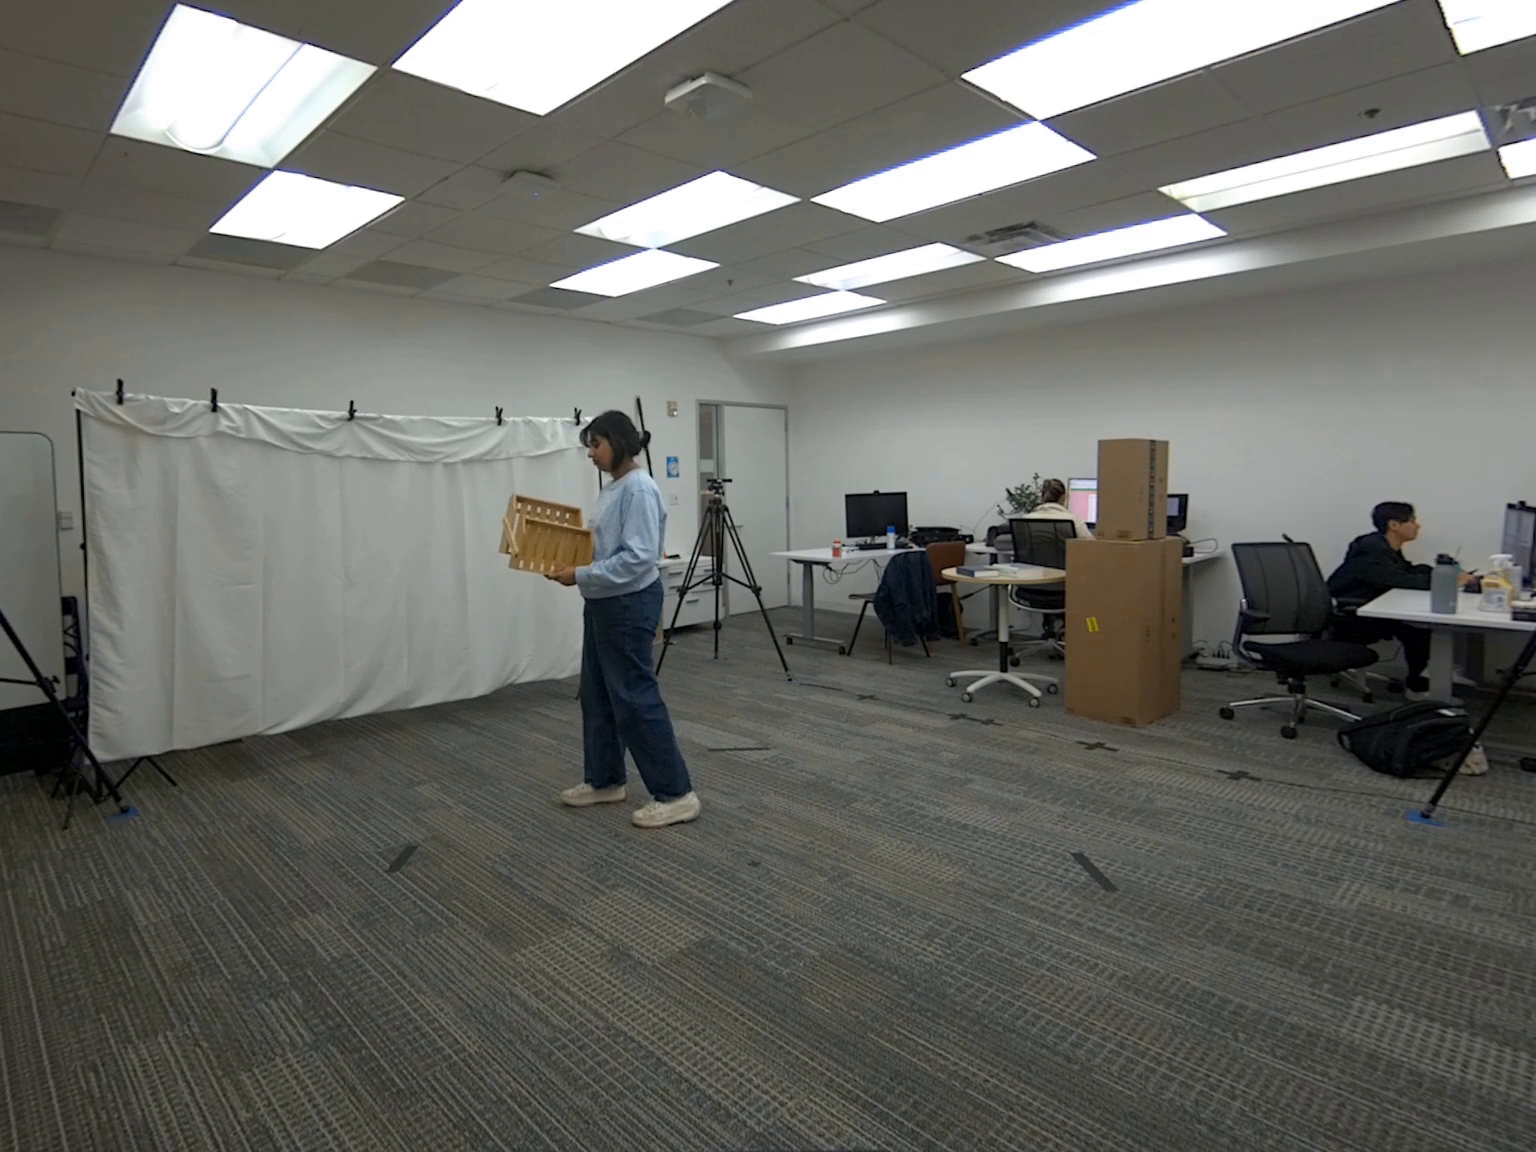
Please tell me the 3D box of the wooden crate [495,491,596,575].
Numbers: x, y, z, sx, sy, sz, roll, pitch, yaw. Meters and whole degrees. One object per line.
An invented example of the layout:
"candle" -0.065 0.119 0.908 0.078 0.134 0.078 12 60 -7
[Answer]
"wooden crate" -0.881 -0.162 3.474 0.315 0.303 0.281 12 -4 -32
